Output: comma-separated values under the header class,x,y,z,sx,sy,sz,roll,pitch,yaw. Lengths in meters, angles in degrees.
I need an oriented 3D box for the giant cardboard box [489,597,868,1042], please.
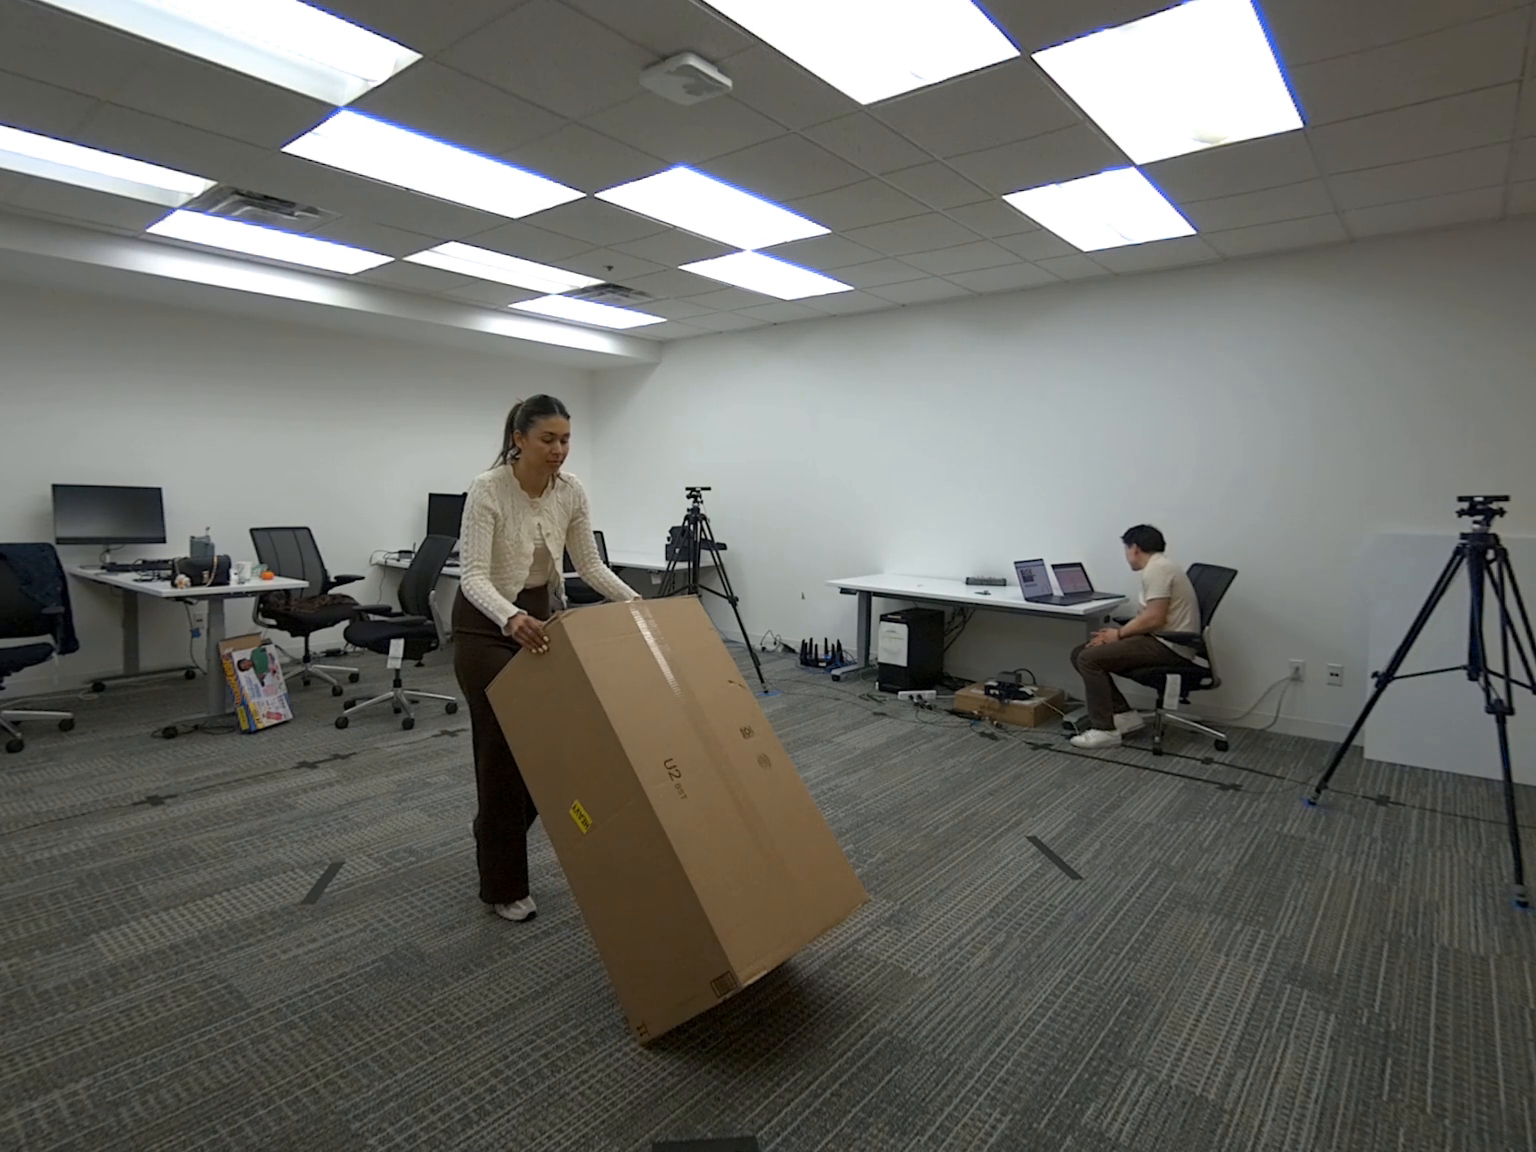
class,x,y,z,sx,sy,sz,roll,pitch,yaw
giant cardboard box,-0.284,0.613,2.415,0.560,1.055,0.427,-4,-34,-51
